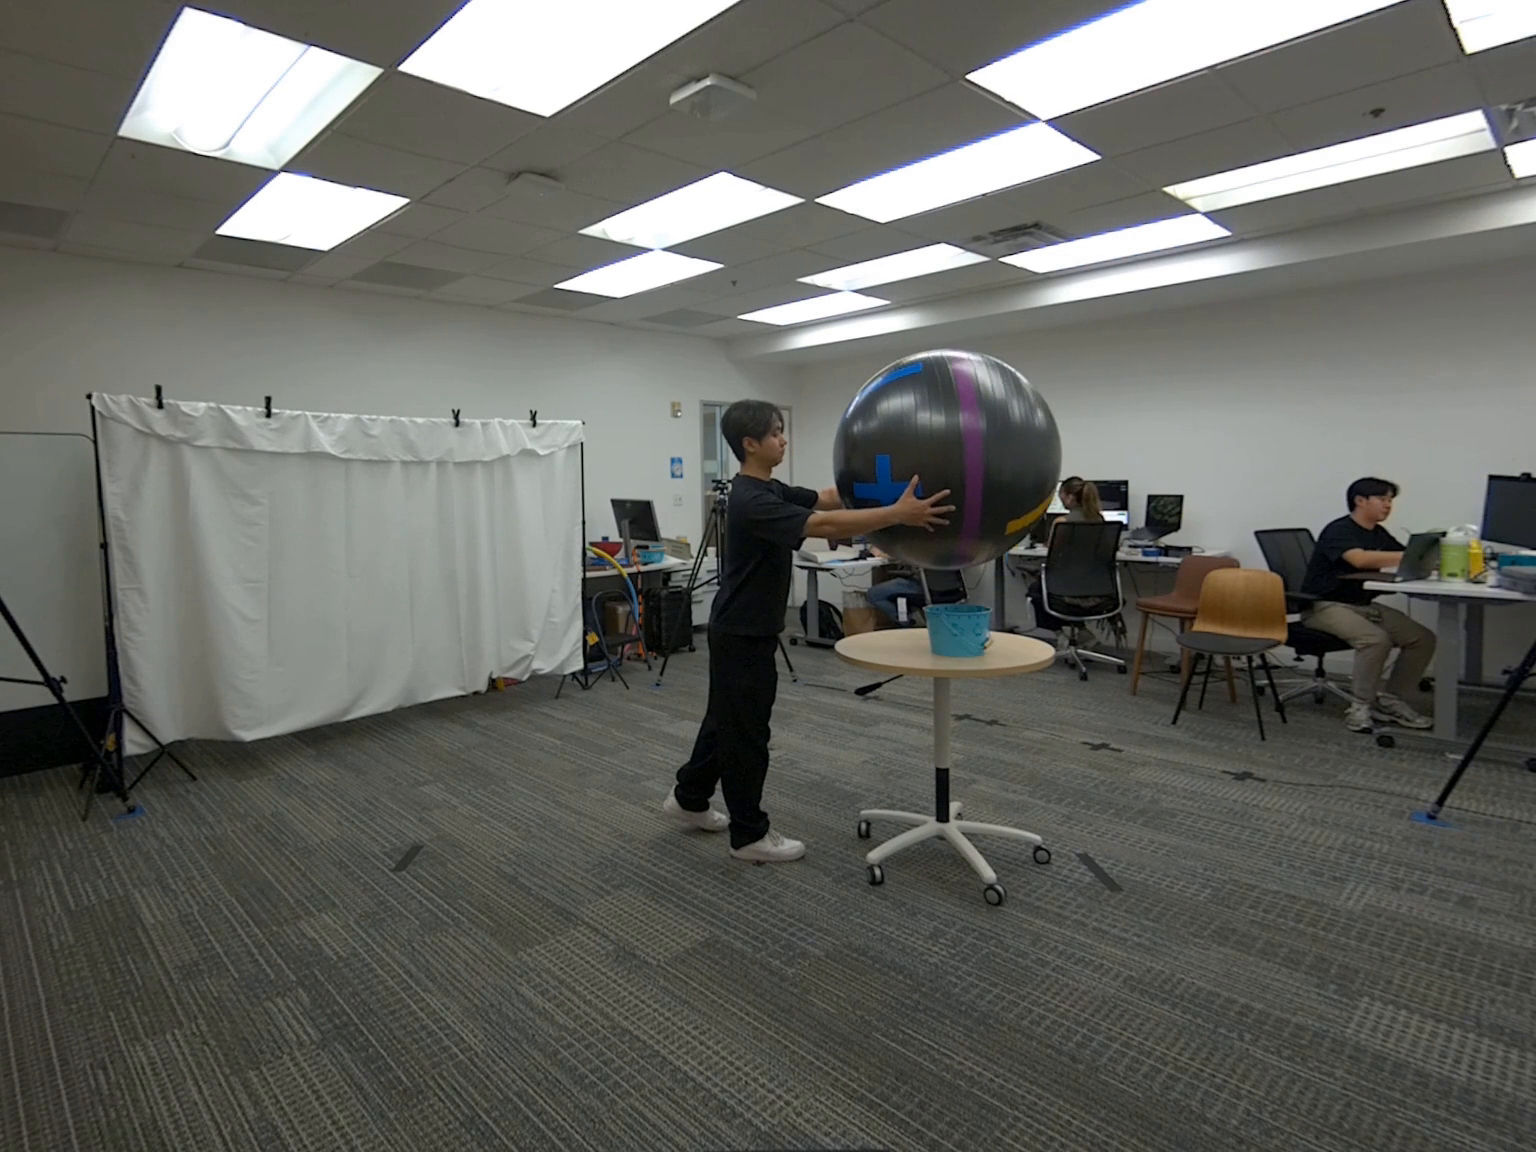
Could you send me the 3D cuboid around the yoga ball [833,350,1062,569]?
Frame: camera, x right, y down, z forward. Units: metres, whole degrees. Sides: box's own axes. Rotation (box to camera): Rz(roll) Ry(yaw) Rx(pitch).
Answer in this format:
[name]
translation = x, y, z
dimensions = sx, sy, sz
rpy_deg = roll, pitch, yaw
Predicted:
[yoga ball]
translation = 0.621, -0.400, 2.969
dimensions = 0.757, 0.755, 0.762
rpy_deg = -1, 5, -2
